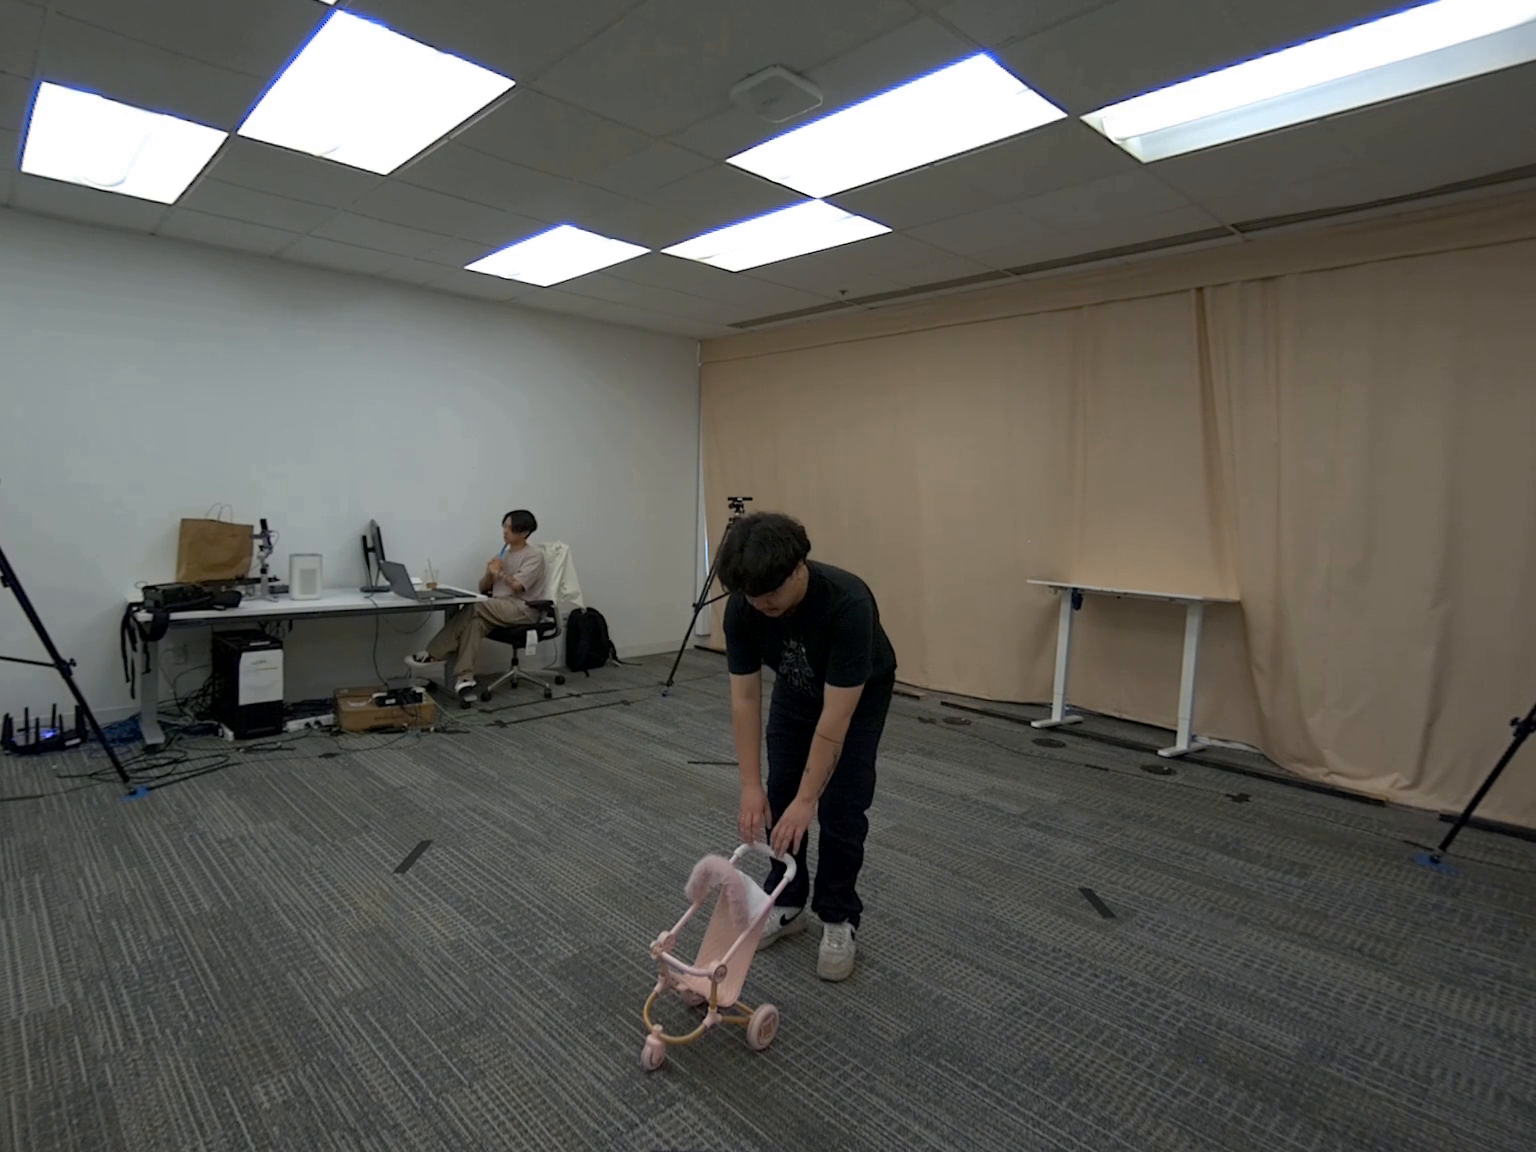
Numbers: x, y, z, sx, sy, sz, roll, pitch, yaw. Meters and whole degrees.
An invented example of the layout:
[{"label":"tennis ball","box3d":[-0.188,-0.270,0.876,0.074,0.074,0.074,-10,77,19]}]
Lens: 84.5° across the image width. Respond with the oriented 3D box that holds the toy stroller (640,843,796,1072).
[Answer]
[{"label":"toy stroller","box3d":[-0.147,0.970,2.167,0.331,0.537,0.289,19,-9,-41]}]
